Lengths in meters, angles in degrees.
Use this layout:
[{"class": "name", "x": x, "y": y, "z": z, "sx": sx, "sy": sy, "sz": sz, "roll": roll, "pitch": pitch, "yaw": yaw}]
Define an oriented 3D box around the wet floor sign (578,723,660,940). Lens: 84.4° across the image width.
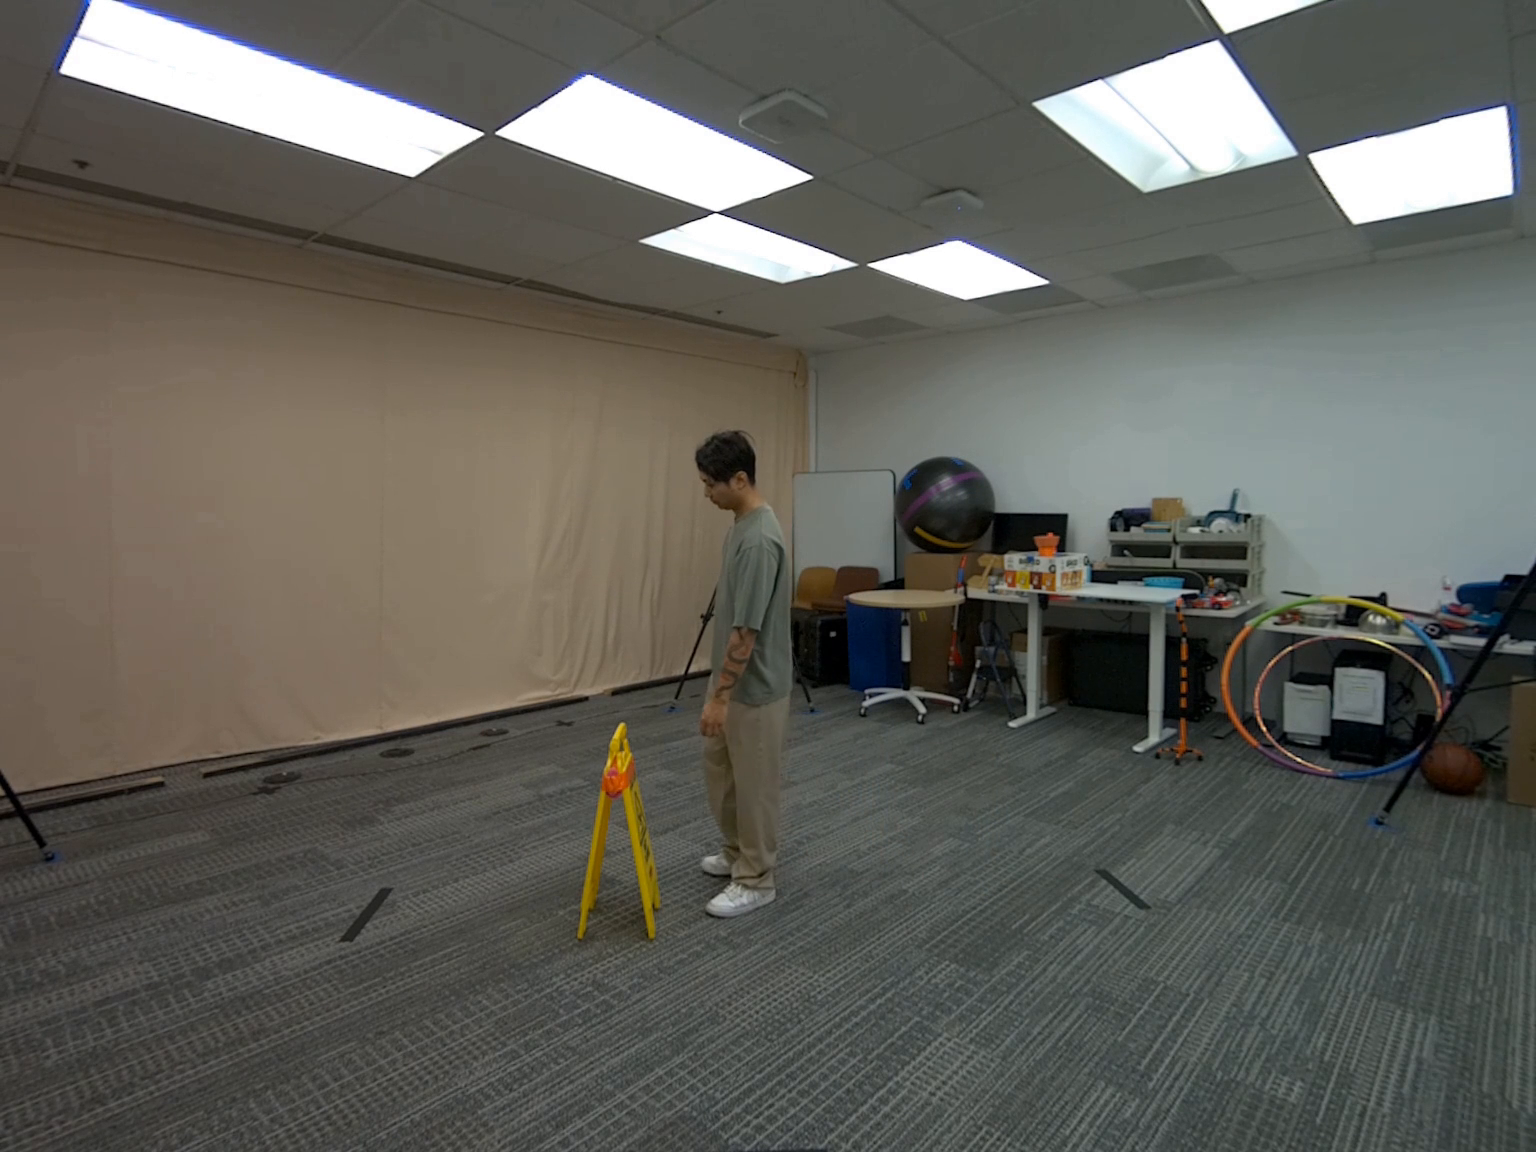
[{"class": "wet floor sign", "x": -0.494, "y": 0.833, "z": 2.821, "sx": 0.290, "sy": 0.644, "sz": 0.283, "roll": 0, "pitch": 4, "yaw": -1}]
